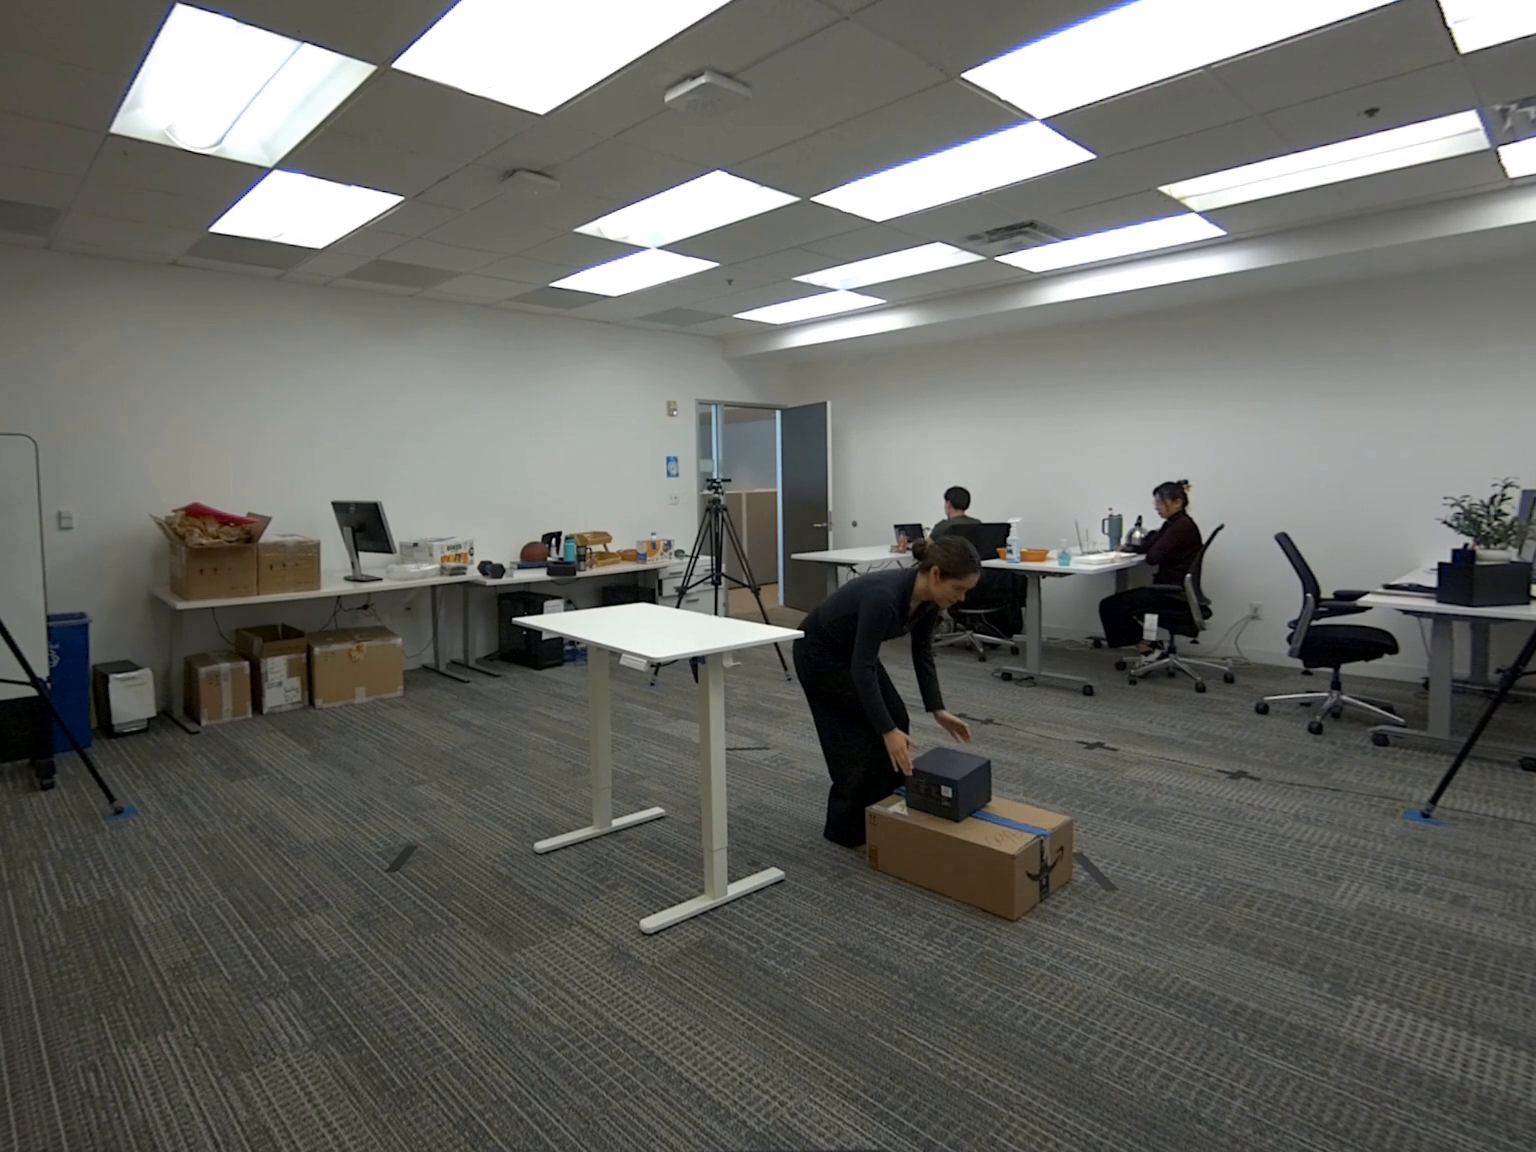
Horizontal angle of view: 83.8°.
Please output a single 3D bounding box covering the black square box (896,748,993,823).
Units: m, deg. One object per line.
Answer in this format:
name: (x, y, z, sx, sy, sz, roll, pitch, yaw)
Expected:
black square box: (0.642, 0.734, 3.041, 0.224, 0.155, 0.222, 5, 11, 44)
